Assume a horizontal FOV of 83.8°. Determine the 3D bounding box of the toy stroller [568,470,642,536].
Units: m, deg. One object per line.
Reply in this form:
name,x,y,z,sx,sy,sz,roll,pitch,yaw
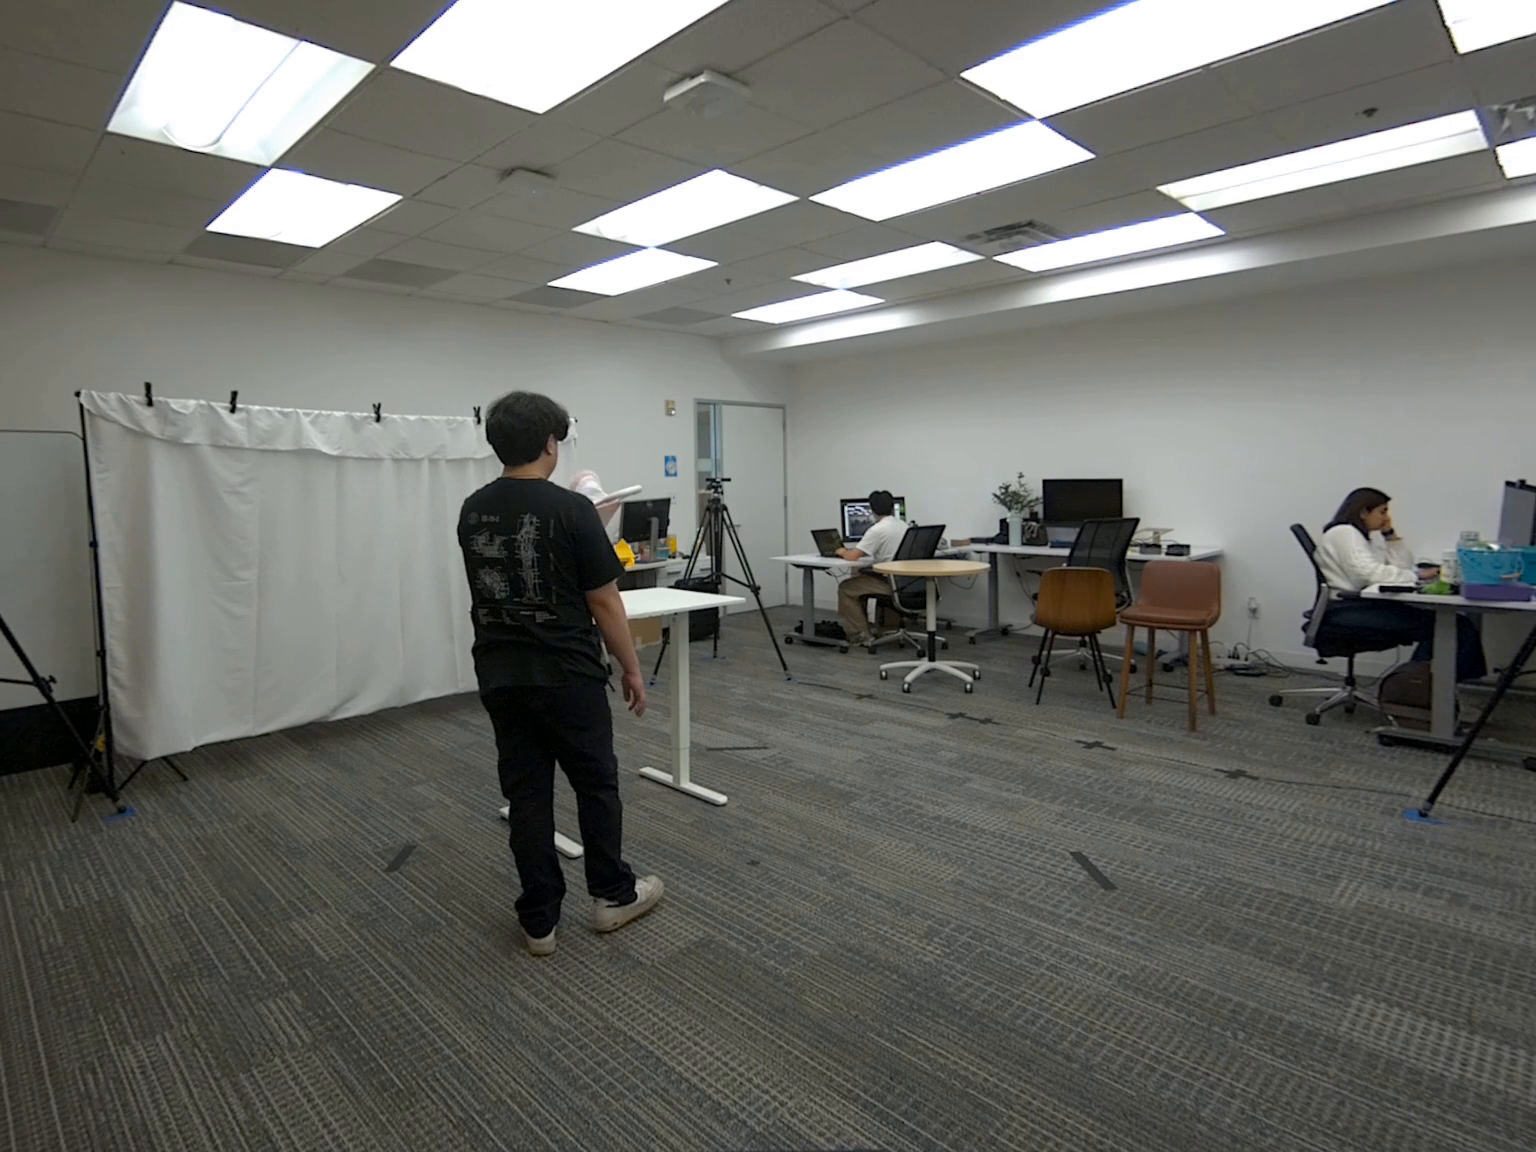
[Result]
toy stroller,-0.714,-0.168,3.211,0.350,0.529,0.277,30,23,19
